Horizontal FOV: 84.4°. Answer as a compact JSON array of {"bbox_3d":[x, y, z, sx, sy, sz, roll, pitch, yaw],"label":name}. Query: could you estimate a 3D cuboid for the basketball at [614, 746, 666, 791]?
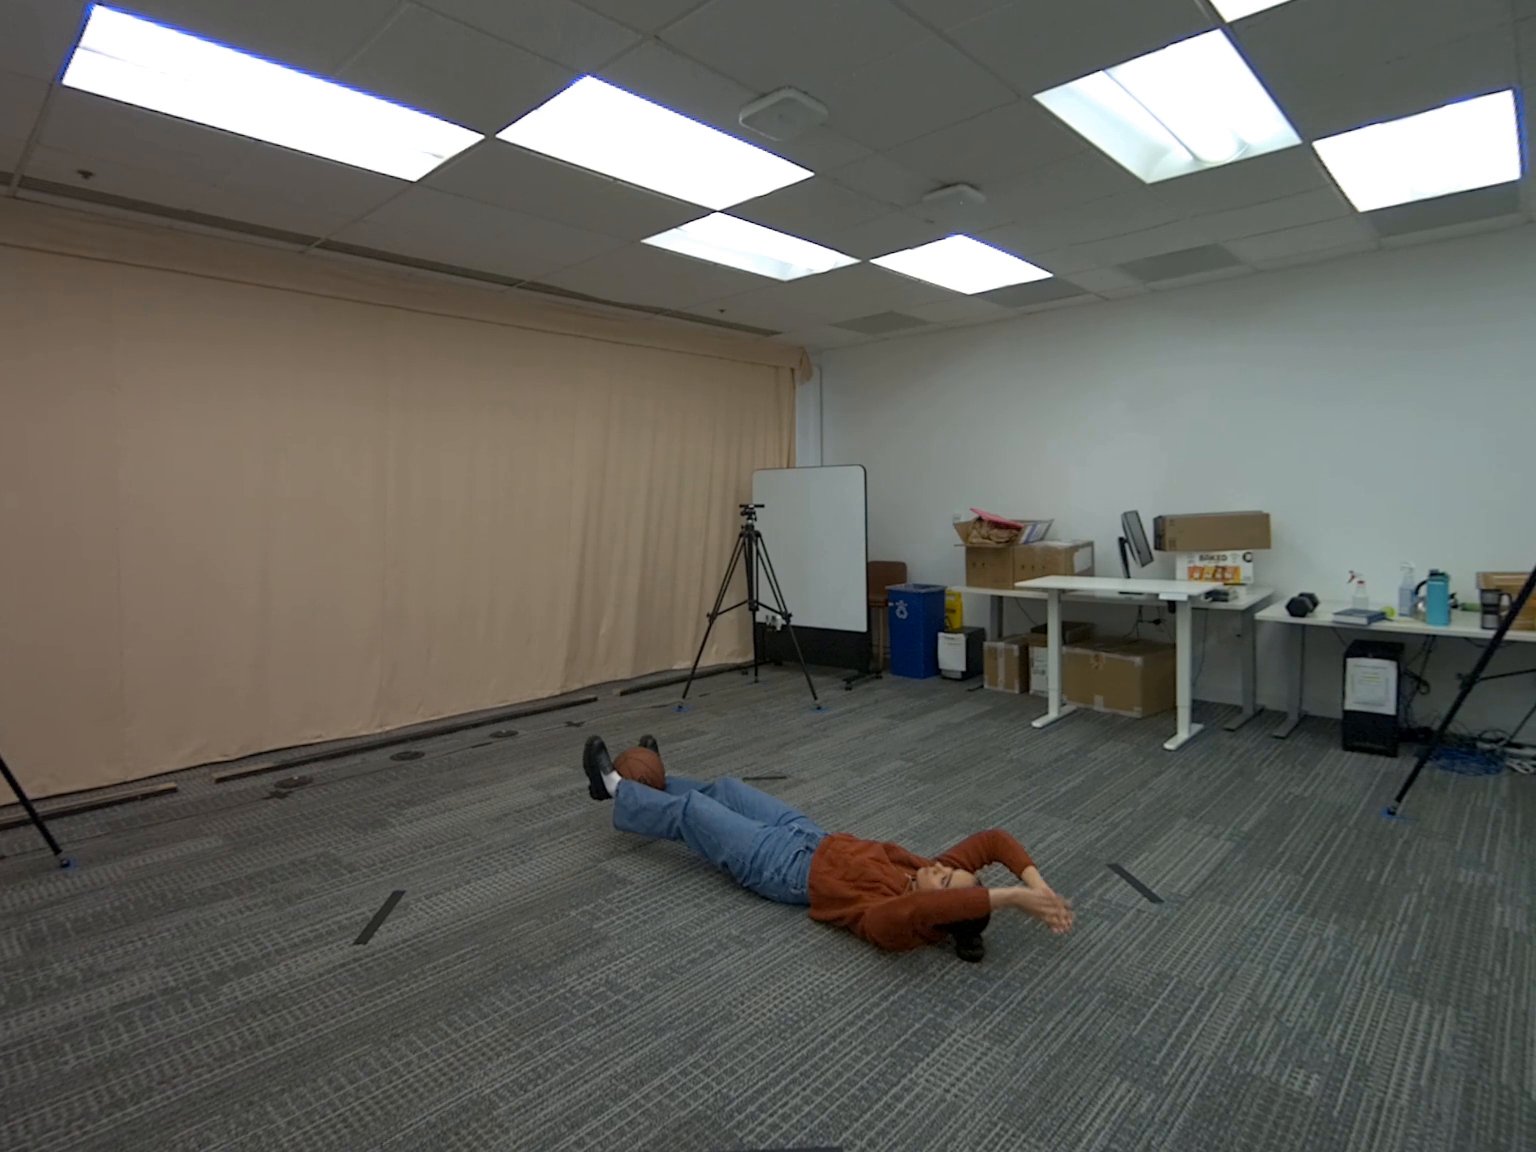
[{"bbox_3d":[-0.555,0.841,3.541,0.235,0.235,0.237,2,5,-2],"label":"basketball"}]
